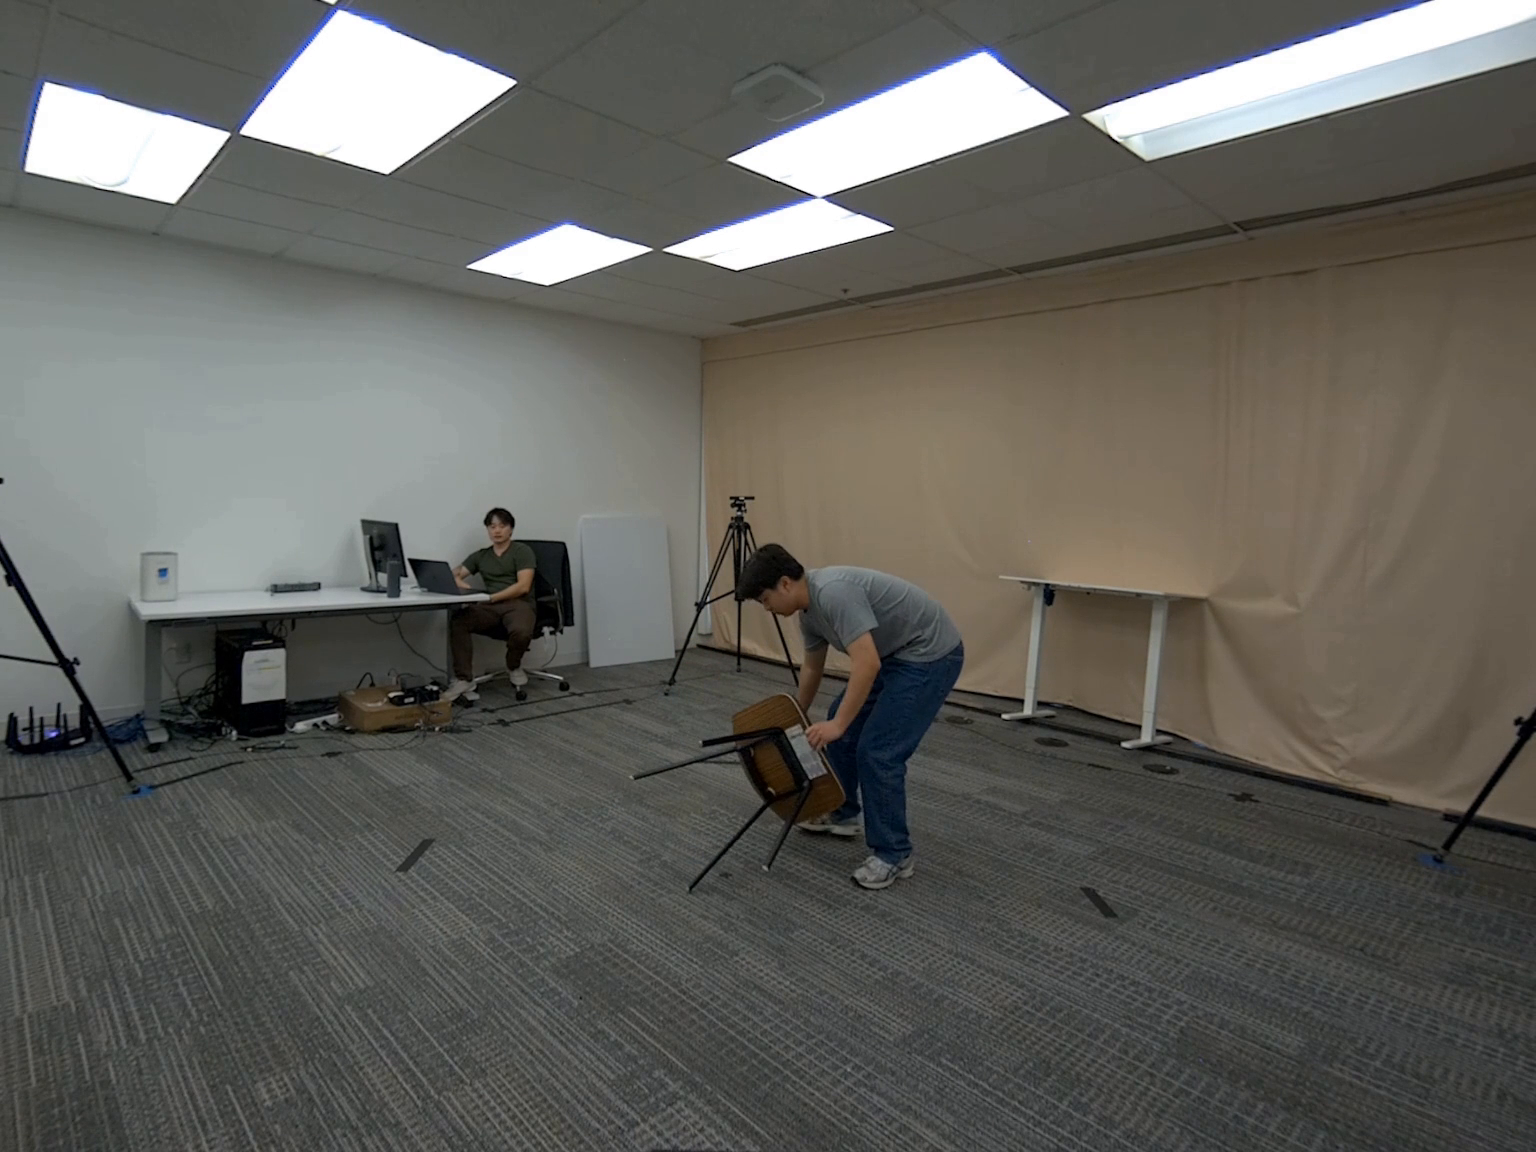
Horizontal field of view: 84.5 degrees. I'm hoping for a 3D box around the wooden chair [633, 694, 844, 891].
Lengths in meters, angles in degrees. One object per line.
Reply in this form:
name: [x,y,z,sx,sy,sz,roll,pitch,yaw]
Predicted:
wooden chair: [0.011,0.718,3.142,0.526,0.482,0.864,-35,-9,37]
